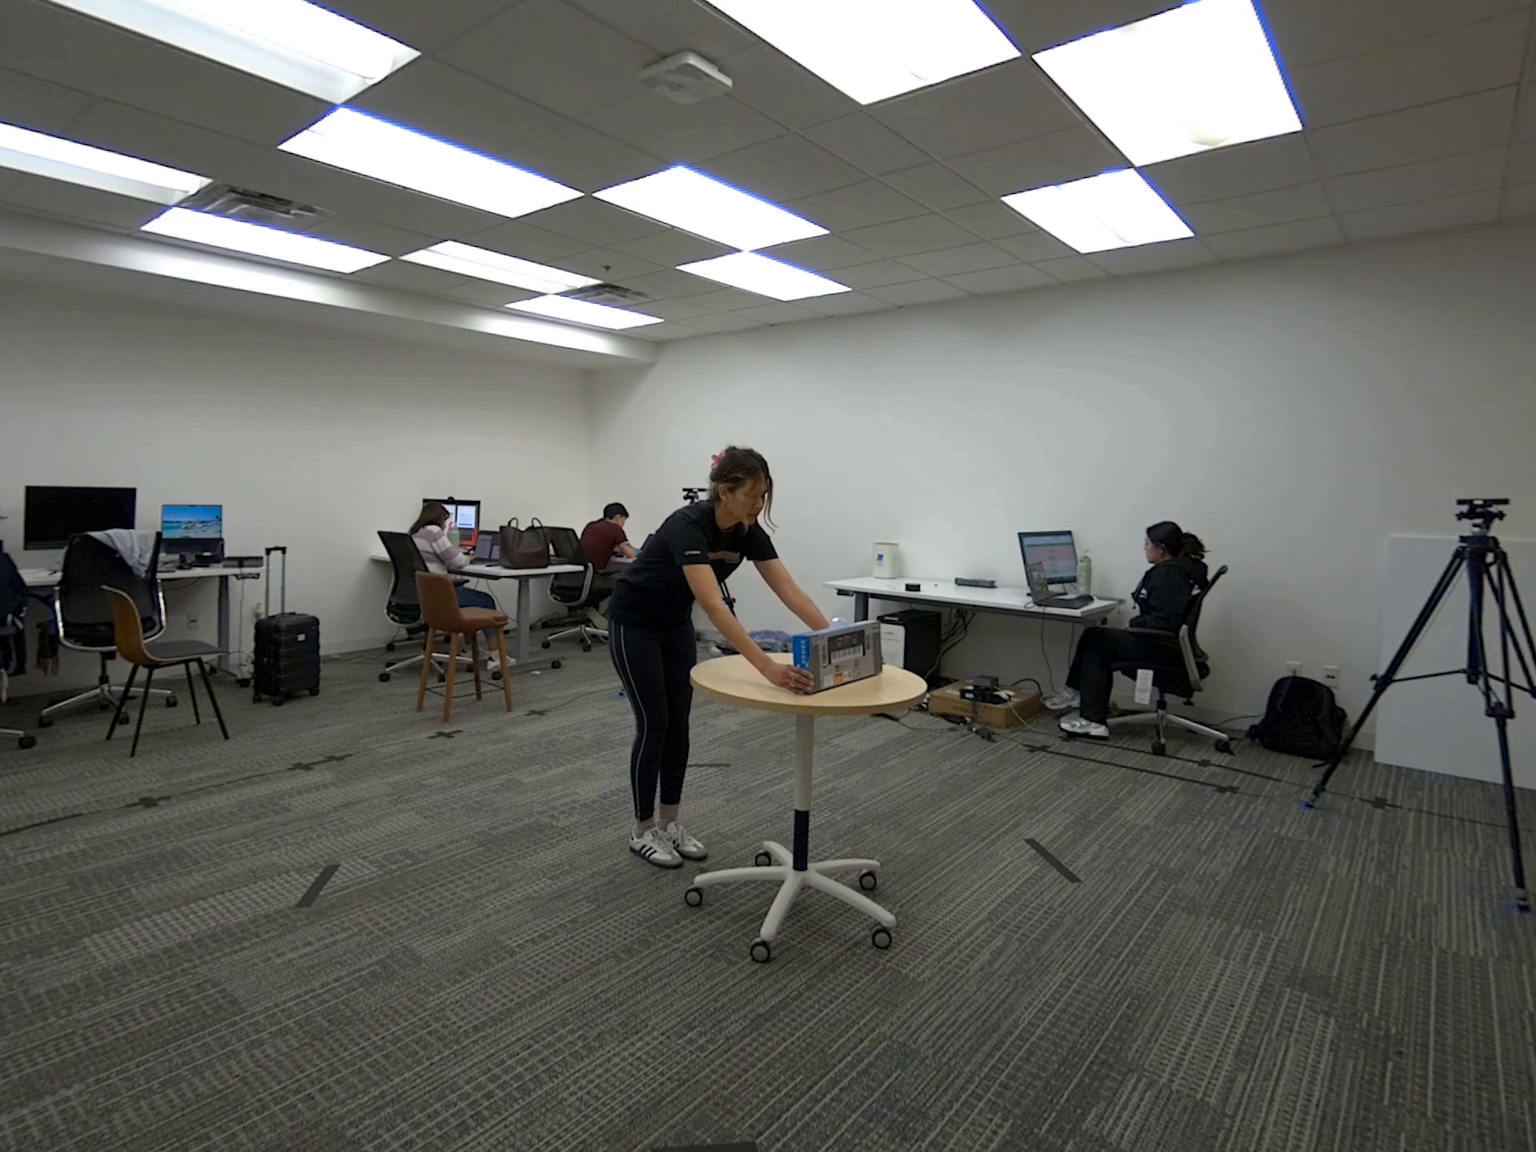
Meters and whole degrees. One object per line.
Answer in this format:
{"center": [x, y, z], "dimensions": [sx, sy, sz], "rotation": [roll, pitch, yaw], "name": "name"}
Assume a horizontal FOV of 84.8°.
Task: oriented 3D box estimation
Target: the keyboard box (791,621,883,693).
{"center": [0.223, 0.250, 2.704], "dimensions": [0.061, 0.176, 0.424], "rotation": [-5, 0, 38], "name": "keyboard box"}
